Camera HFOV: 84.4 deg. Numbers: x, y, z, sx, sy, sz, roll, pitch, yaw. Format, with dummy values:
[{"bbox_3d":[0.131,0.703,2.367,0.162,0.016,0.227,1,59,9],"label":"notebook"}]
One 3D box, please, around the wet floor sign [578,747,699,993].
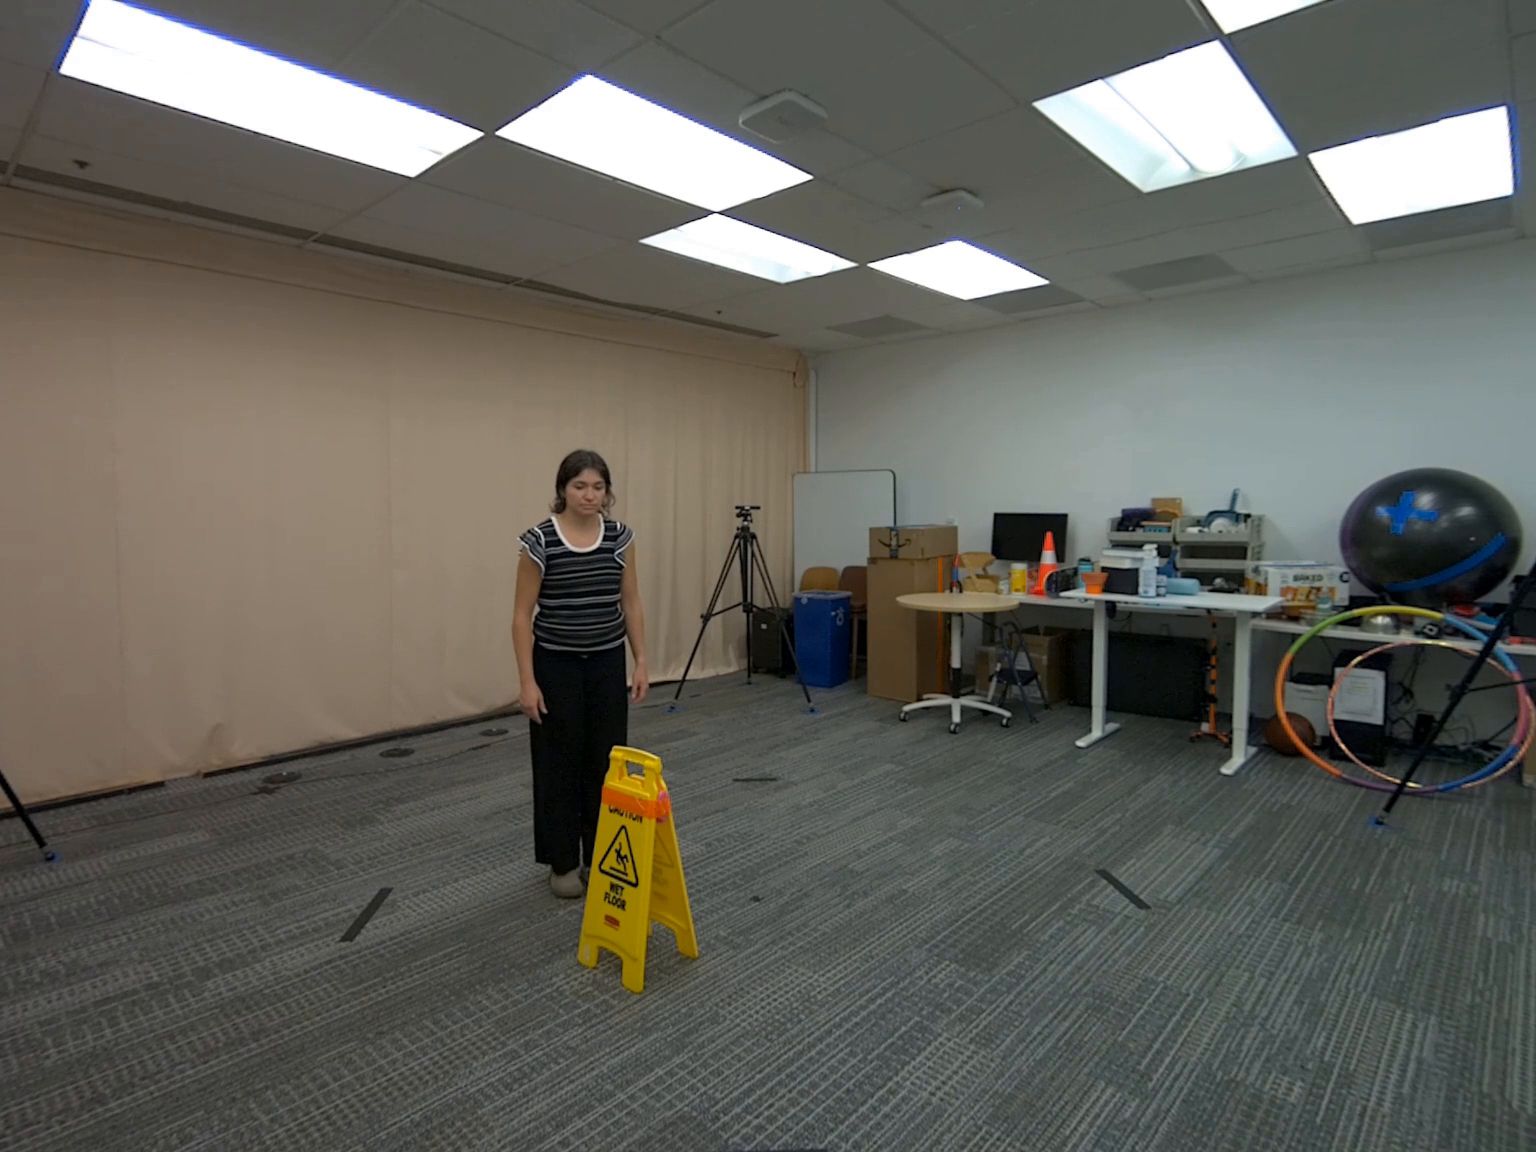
[{"bbox_3d":[-0.401,0.857,2.566,0.291,0.645,0.281,2,4,38],"label":"wet floor sign"}]
